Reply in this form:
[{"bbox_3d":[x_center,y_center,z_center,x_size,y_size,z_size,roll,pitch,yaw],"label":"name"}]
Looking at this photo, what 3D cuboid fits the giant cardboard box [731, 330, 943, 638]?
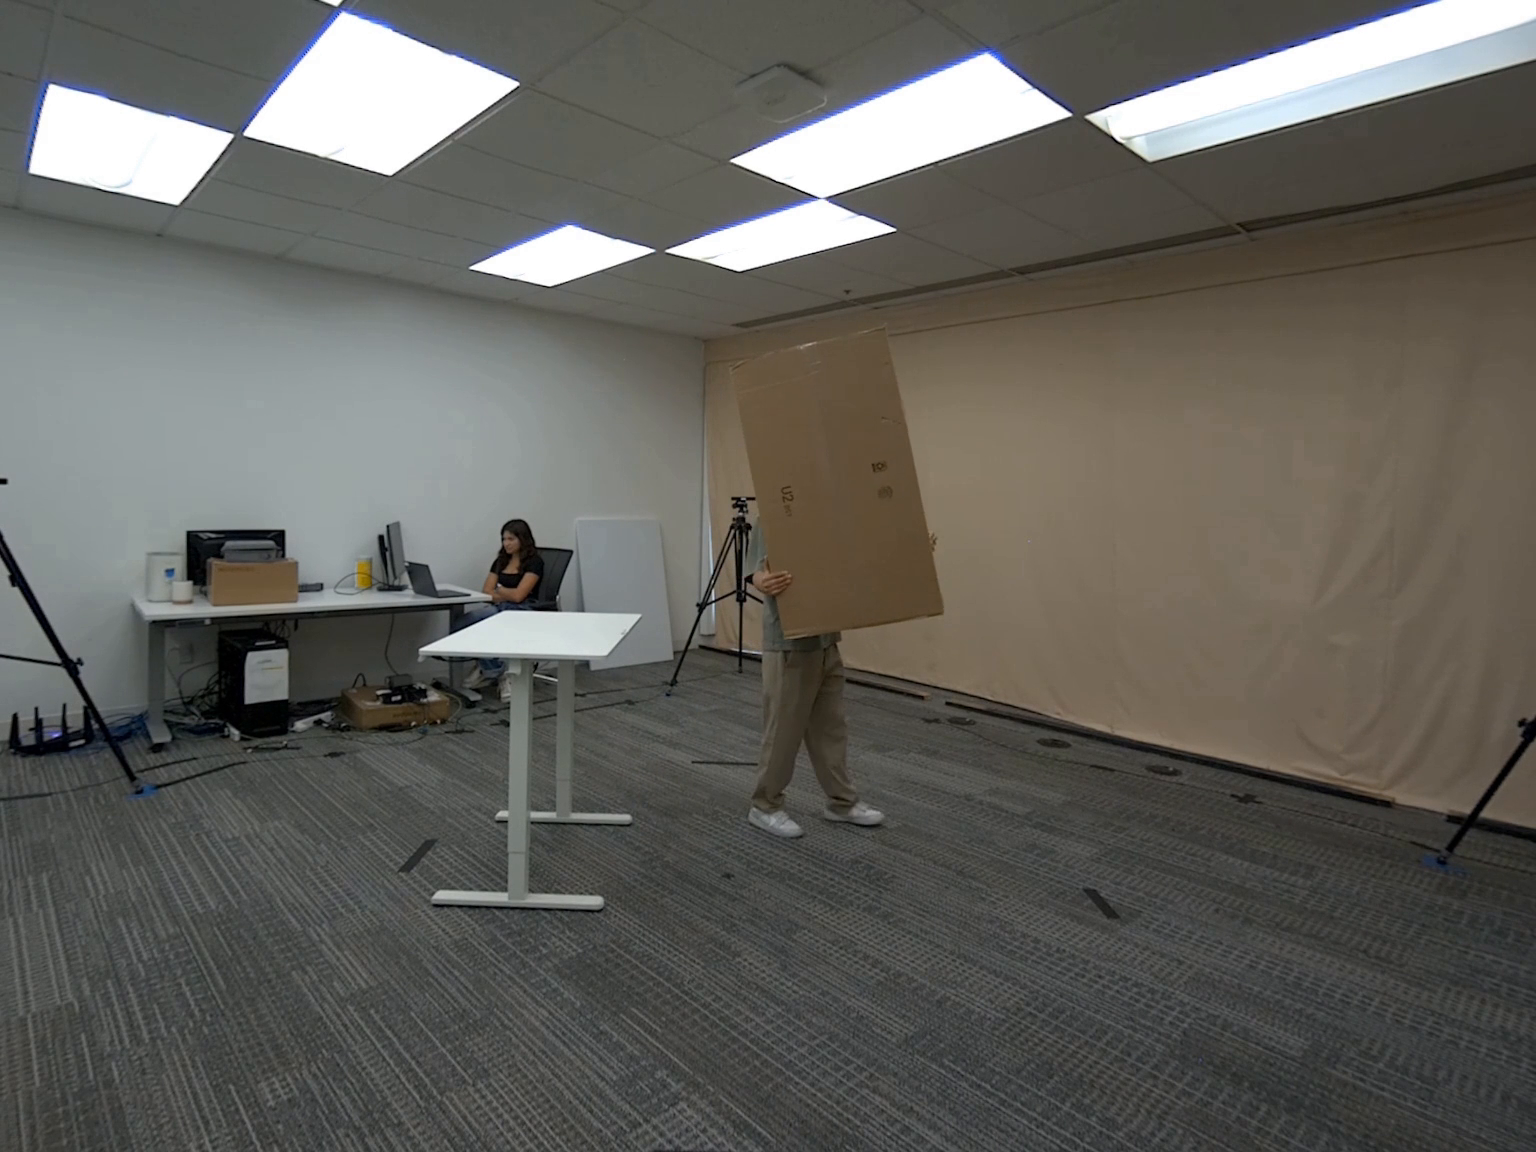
[{"bbox_3d":[0.266,-0.335,3.178,0.582,1.025,0.423,-11,1,13],"label":"giant cardboard box"}]
